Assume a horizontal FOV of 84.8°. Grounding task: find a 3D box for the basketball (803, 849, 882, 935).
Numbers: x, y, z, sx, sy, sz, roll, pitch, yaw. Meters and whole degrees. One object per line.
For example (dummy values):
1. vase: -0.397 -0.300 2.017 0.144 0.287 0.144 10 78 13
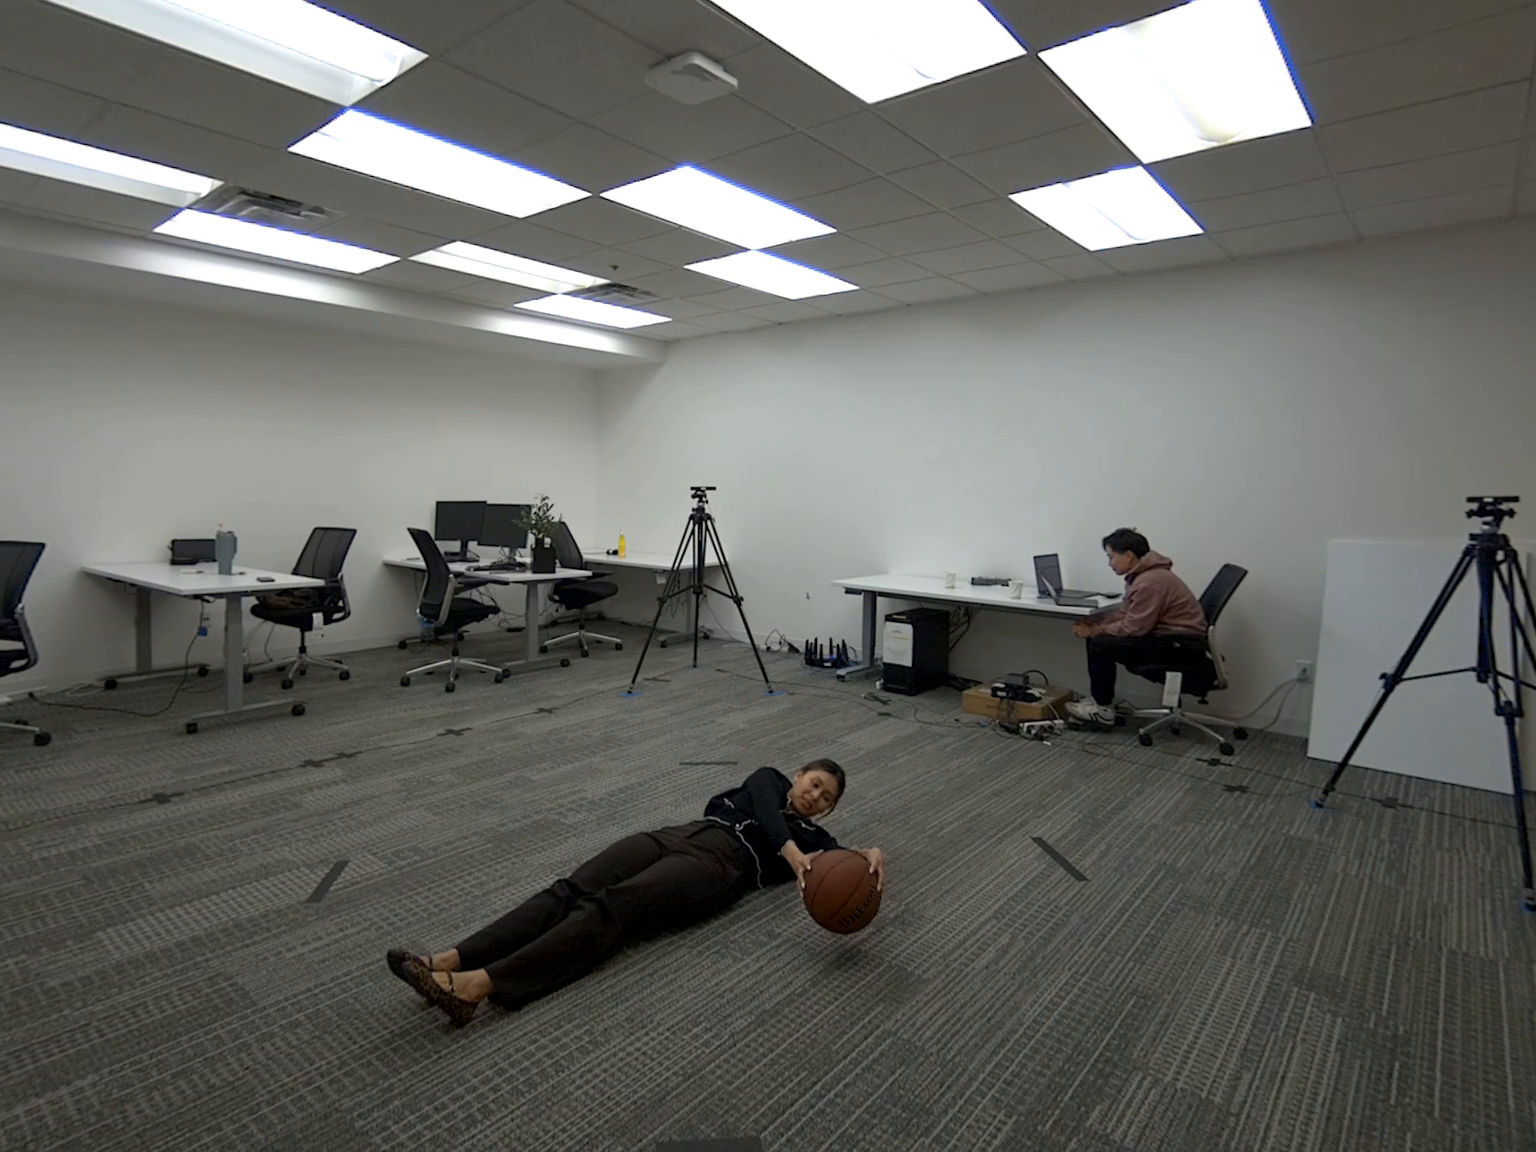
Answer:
1. basketball: 0.218 0.942 2.571 0.236 0.235 0.237 1 4 -2
